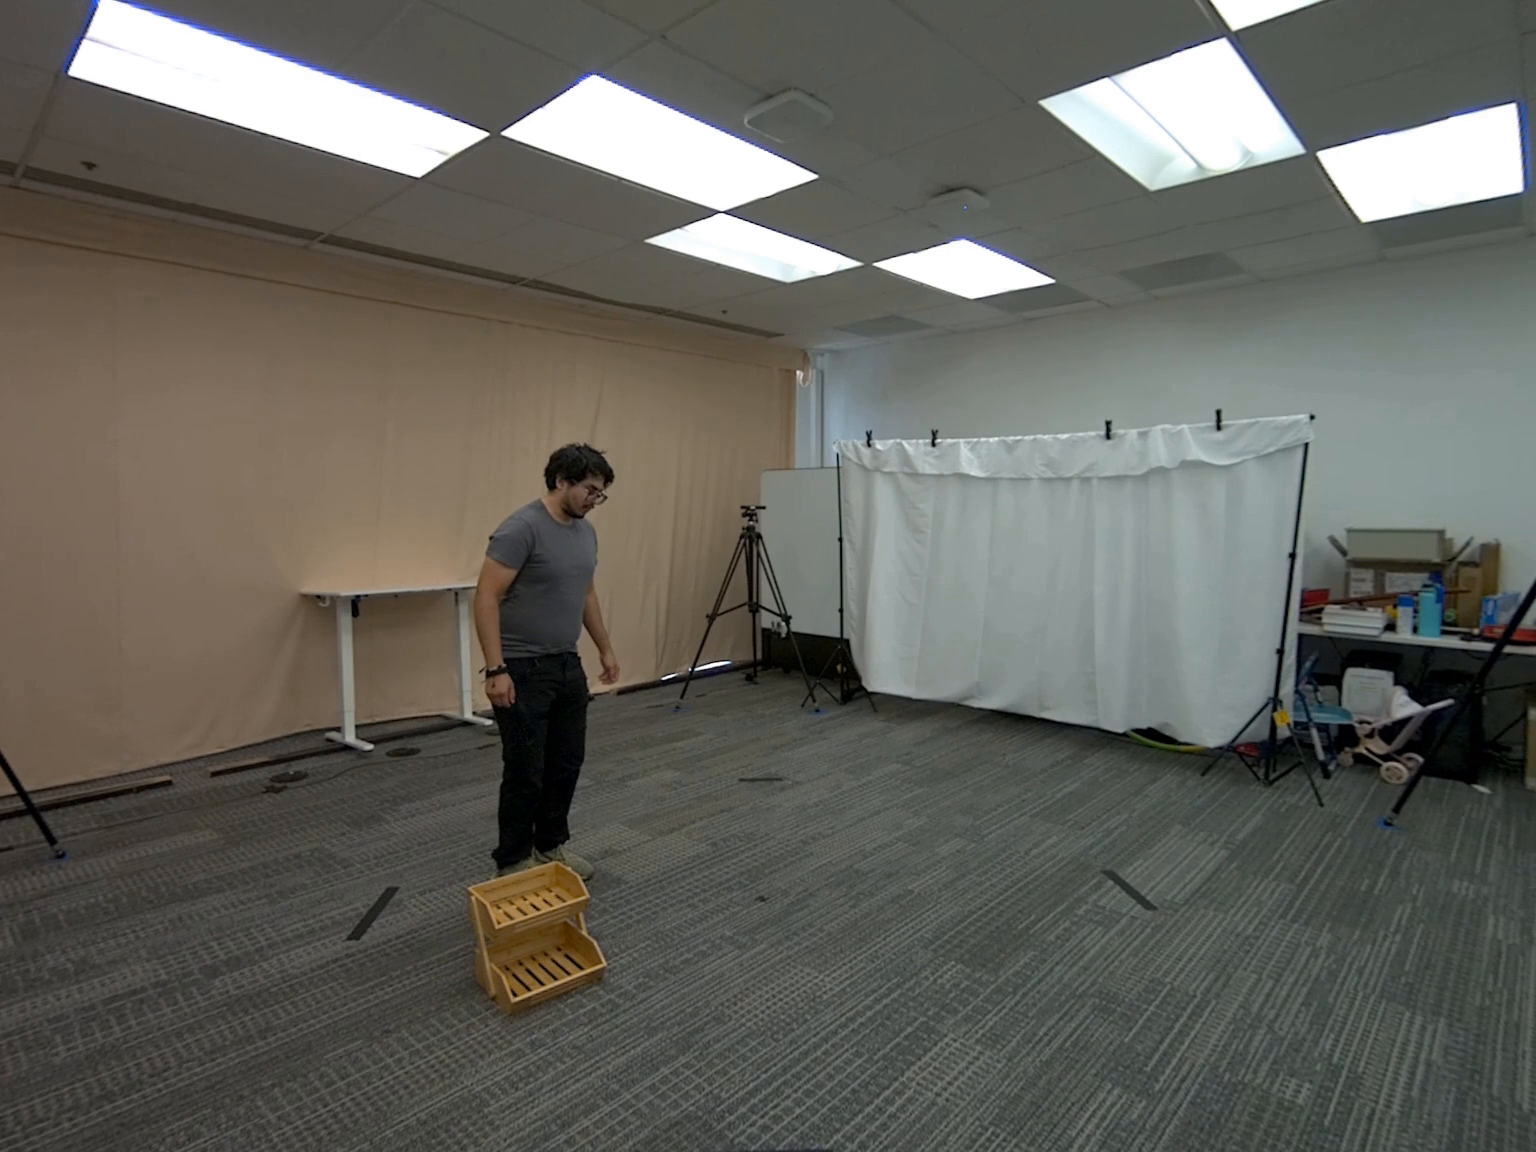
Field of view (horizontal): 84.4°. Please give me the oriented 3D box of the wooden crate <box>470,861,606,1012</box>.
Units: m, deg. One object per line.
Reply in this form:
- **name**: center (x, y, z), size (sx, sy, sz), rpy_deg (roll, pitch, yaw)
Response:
- **wooden crate**: center (-0.684, 1.059, 2.484), size (0.314, 0.273, 0.312), rpy_deg (-3, 4, -40)
